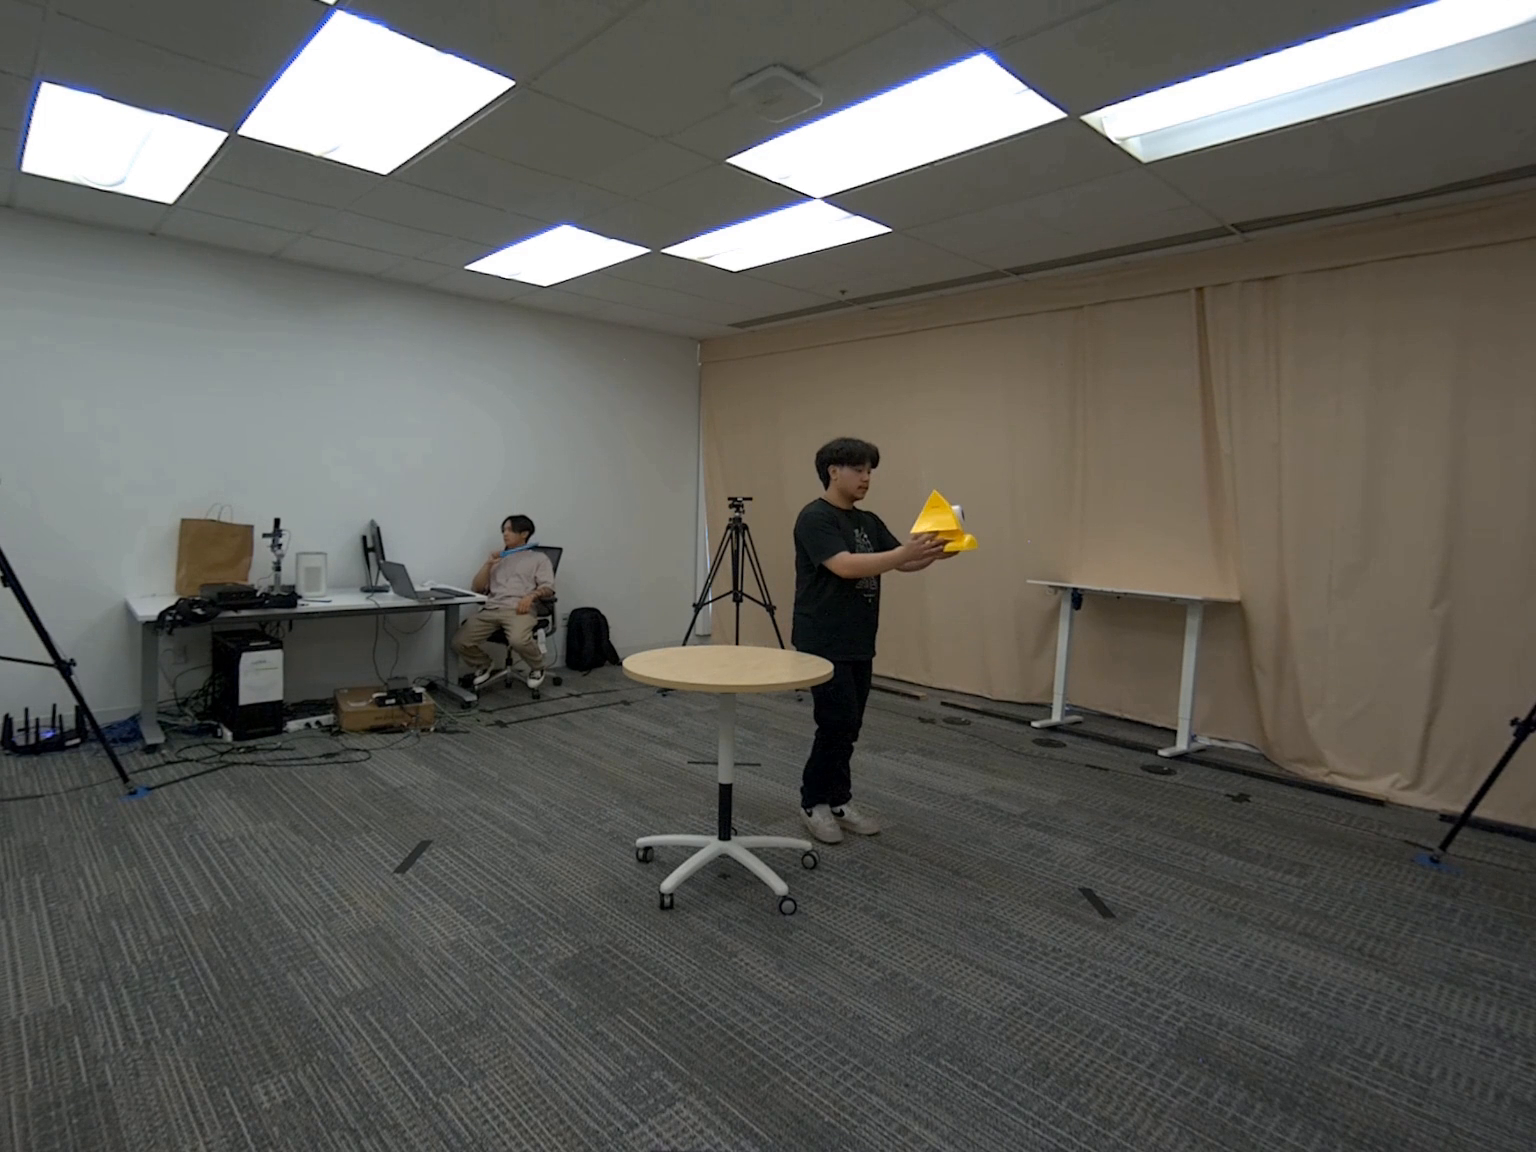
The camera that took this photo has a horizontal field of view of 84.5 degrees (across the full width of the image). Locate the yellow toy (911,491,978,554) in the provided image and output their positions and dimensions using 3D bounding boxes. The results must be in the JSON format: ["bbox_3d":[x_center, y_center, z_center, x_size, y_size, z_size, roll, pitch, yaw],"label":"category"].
[{"bbox_3d":[0.663,-0.210,3.164,0.189,0.231,0.209,-5,0,-43],"label":"yellow toy"}]
